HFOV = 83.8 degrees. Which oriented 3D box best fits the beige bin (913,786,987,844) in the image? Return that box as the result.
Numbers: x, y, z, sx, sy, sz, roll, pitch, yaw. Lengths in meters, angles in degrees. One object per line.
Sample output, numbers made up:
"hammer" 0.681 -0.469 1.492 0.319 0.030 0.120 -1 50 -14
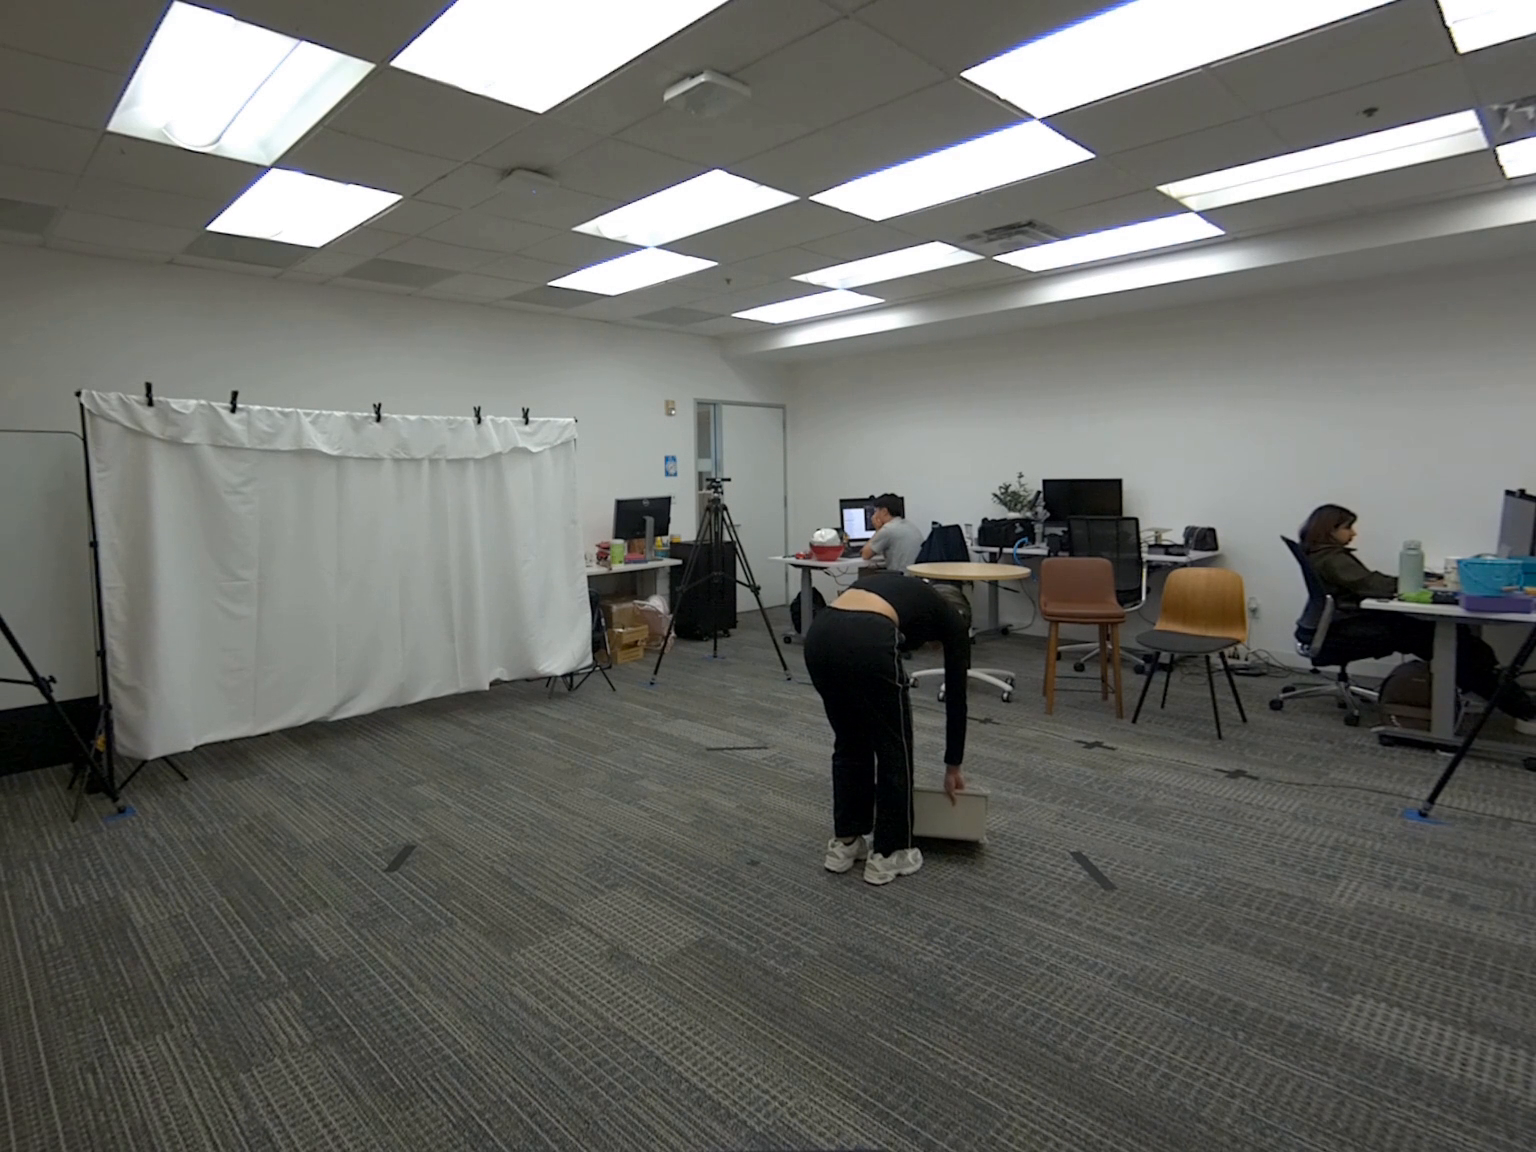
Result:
"beige bin" 0.624 0.887 3.277 0.427 0.190 0.371 2 -6 11
